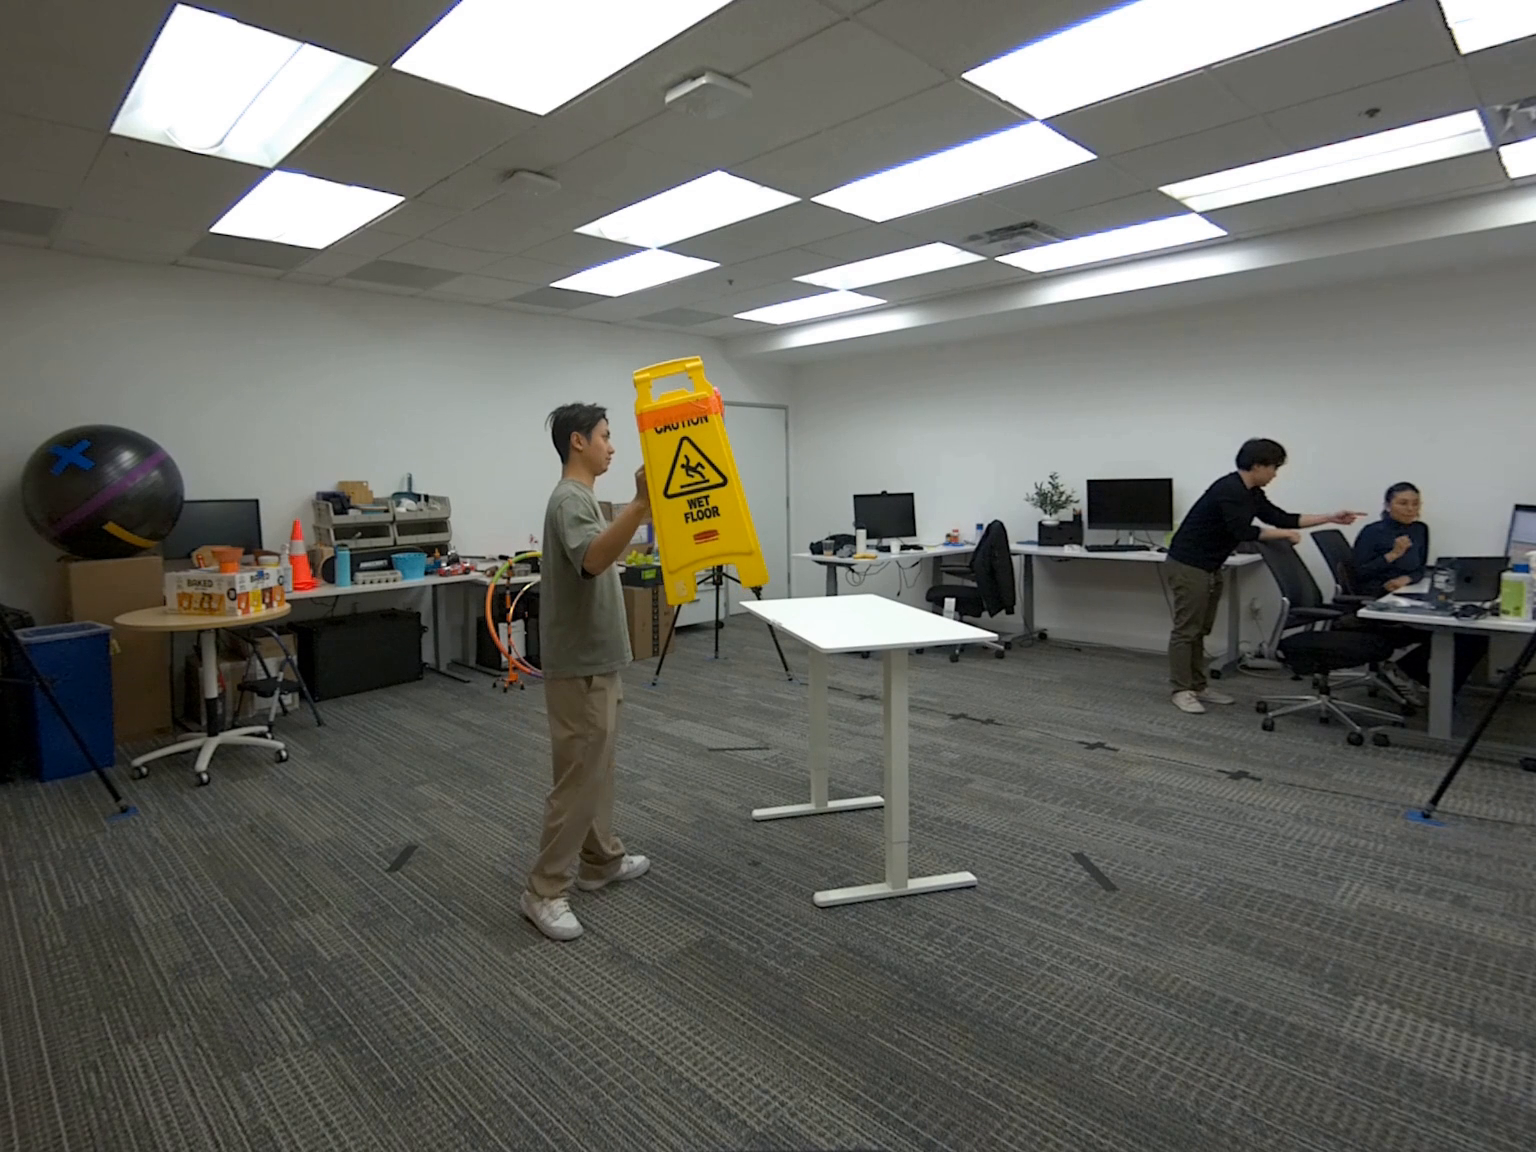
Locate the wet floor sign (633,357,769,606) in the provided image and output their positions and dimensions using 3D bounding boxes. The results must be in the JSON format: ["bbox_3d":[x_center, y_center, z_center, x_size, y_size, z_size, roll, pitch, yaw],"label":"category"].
[{"bbox_3d":[-0.211,-0.279,2.377,0.282,0.644,0.291,-13,3,-1],"label":"wet floor sign"}]
